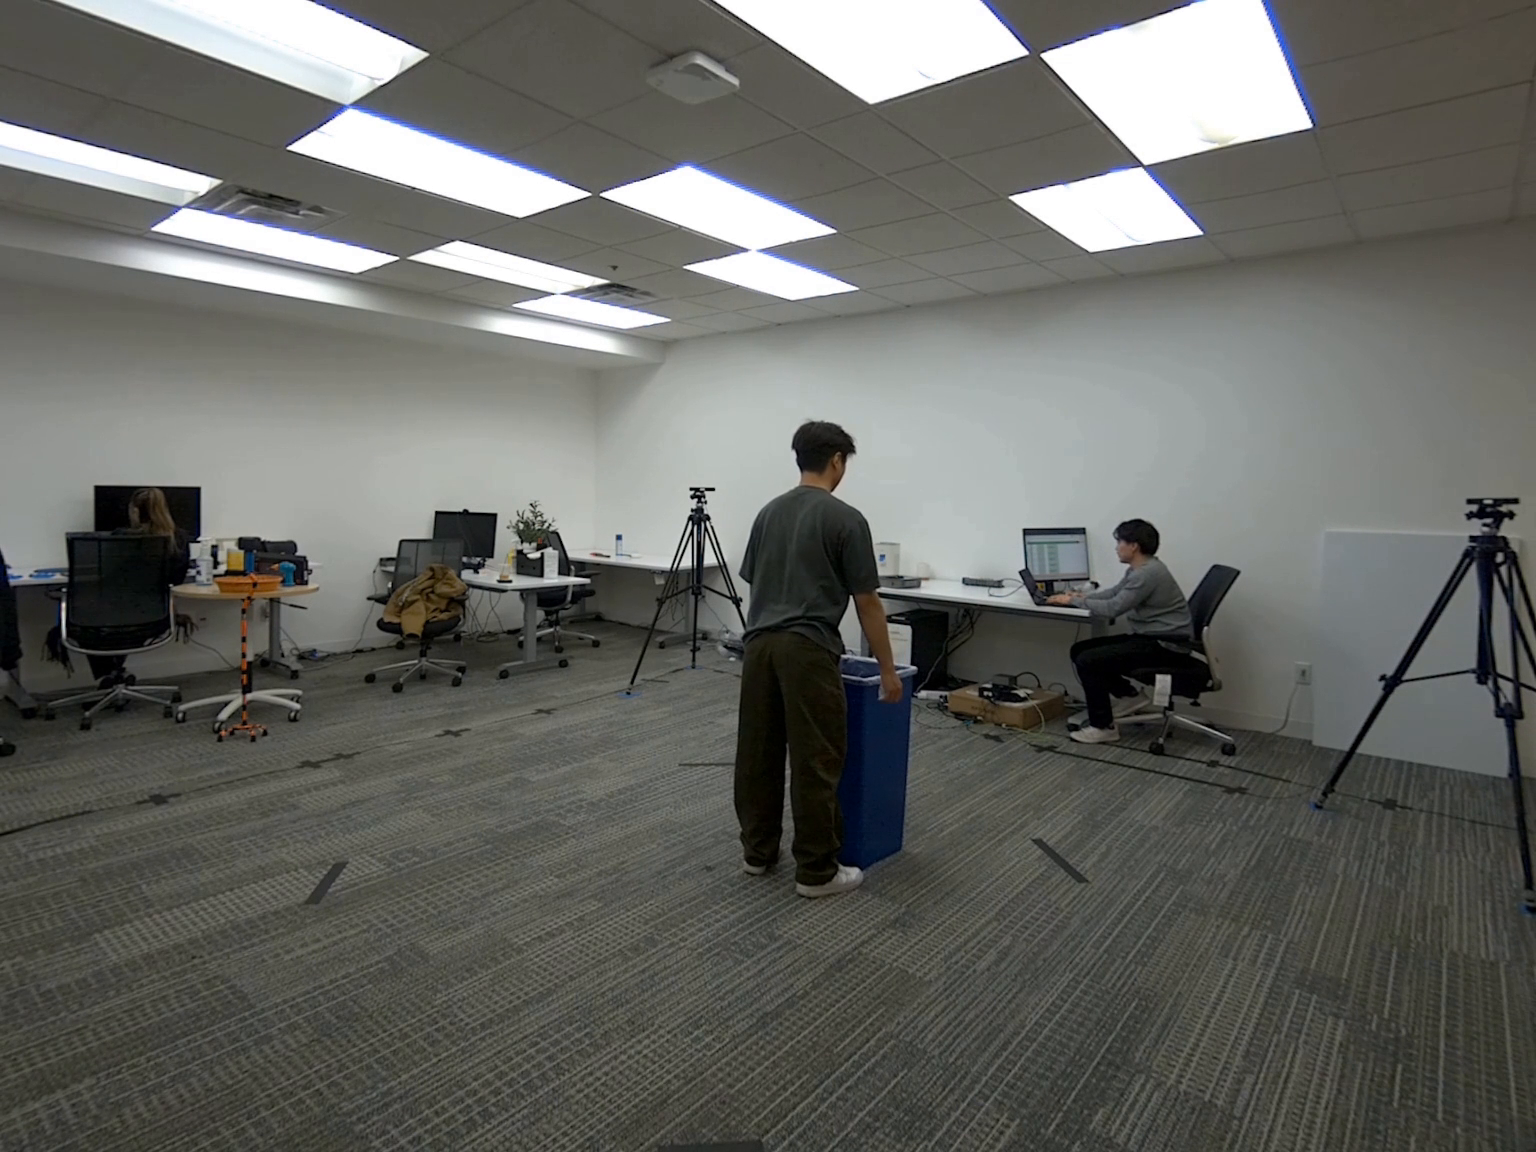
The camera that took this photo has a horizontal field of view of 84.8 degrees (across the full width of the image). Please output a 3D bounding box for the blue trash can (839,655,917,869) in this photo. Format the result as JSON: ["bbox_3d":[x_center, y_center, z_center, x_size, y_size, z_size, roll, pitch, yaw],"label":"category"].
[{"bbox_3d":[0.310,0.696,3.307,0.387,0.712,0.366,4,4,42],"label":"blue trash can"}]
